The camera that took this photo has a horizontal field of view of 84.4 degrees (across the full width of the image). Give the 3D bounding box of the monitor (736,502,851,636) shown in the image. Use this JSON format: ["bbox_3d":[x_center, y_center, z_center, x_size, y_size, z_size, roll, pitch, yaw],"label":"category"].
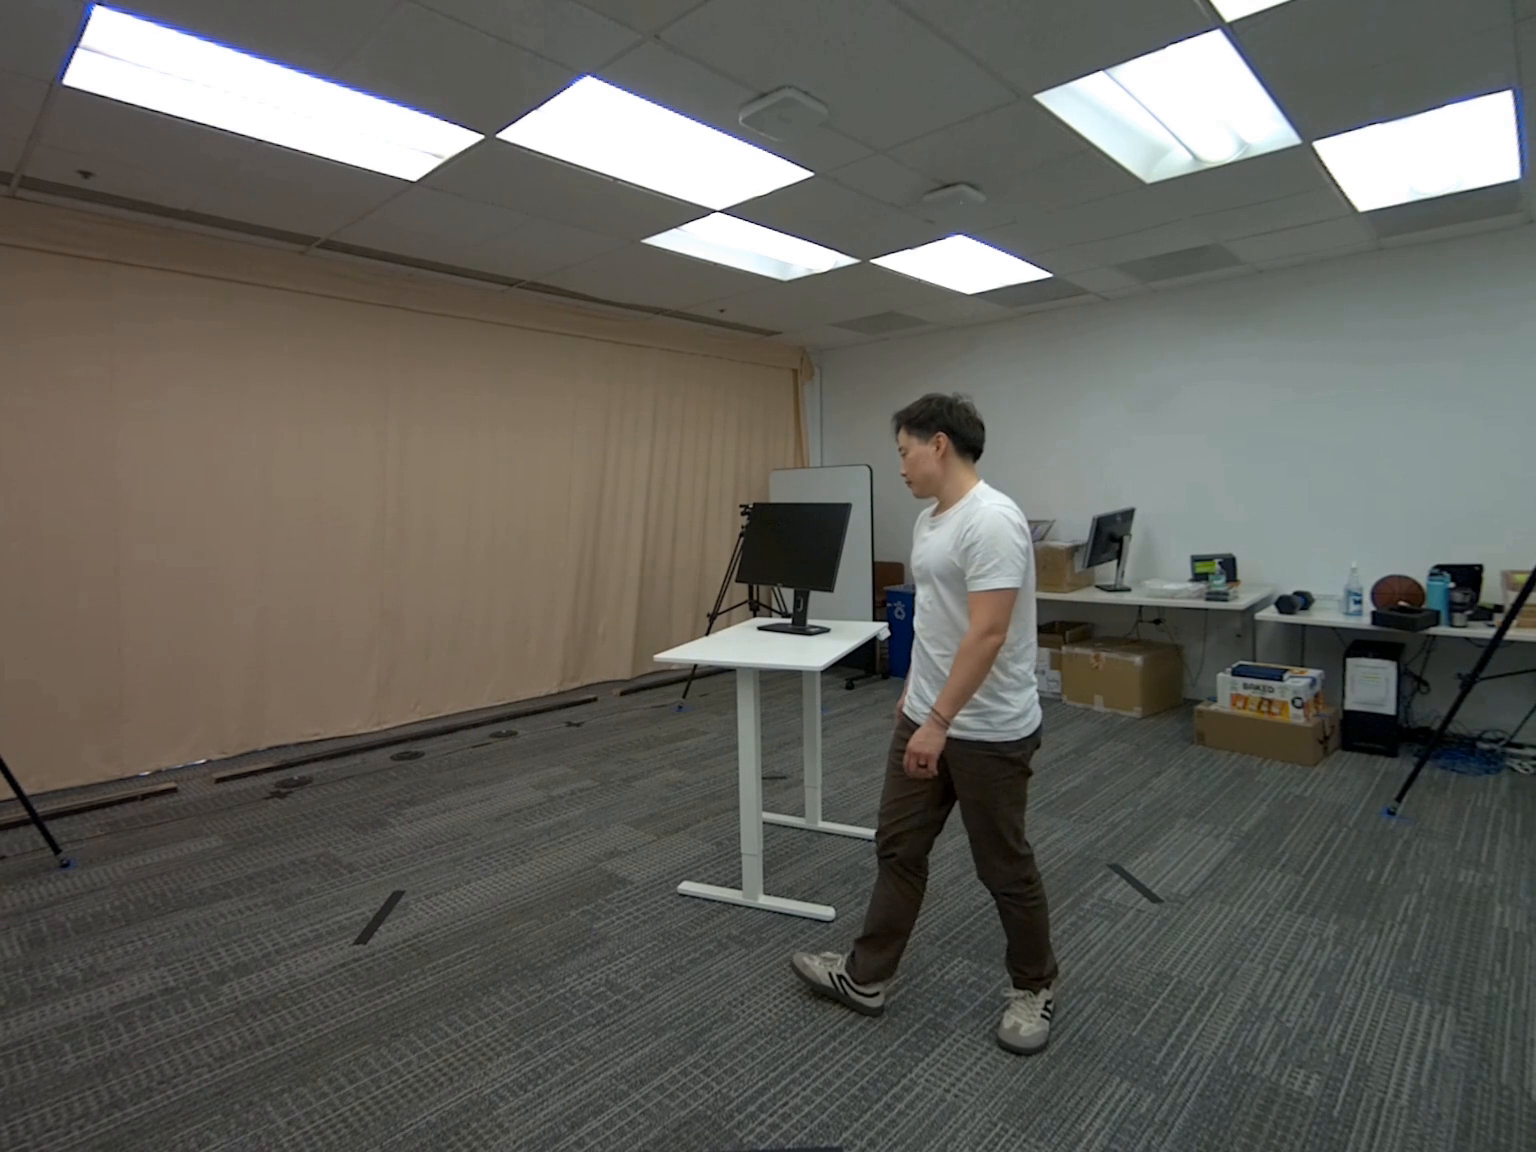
[{"bbox_3d":[0.114,-0.033,3.393,0.557,0.522,0.181,4,1,44],"label":"monitor"}]
